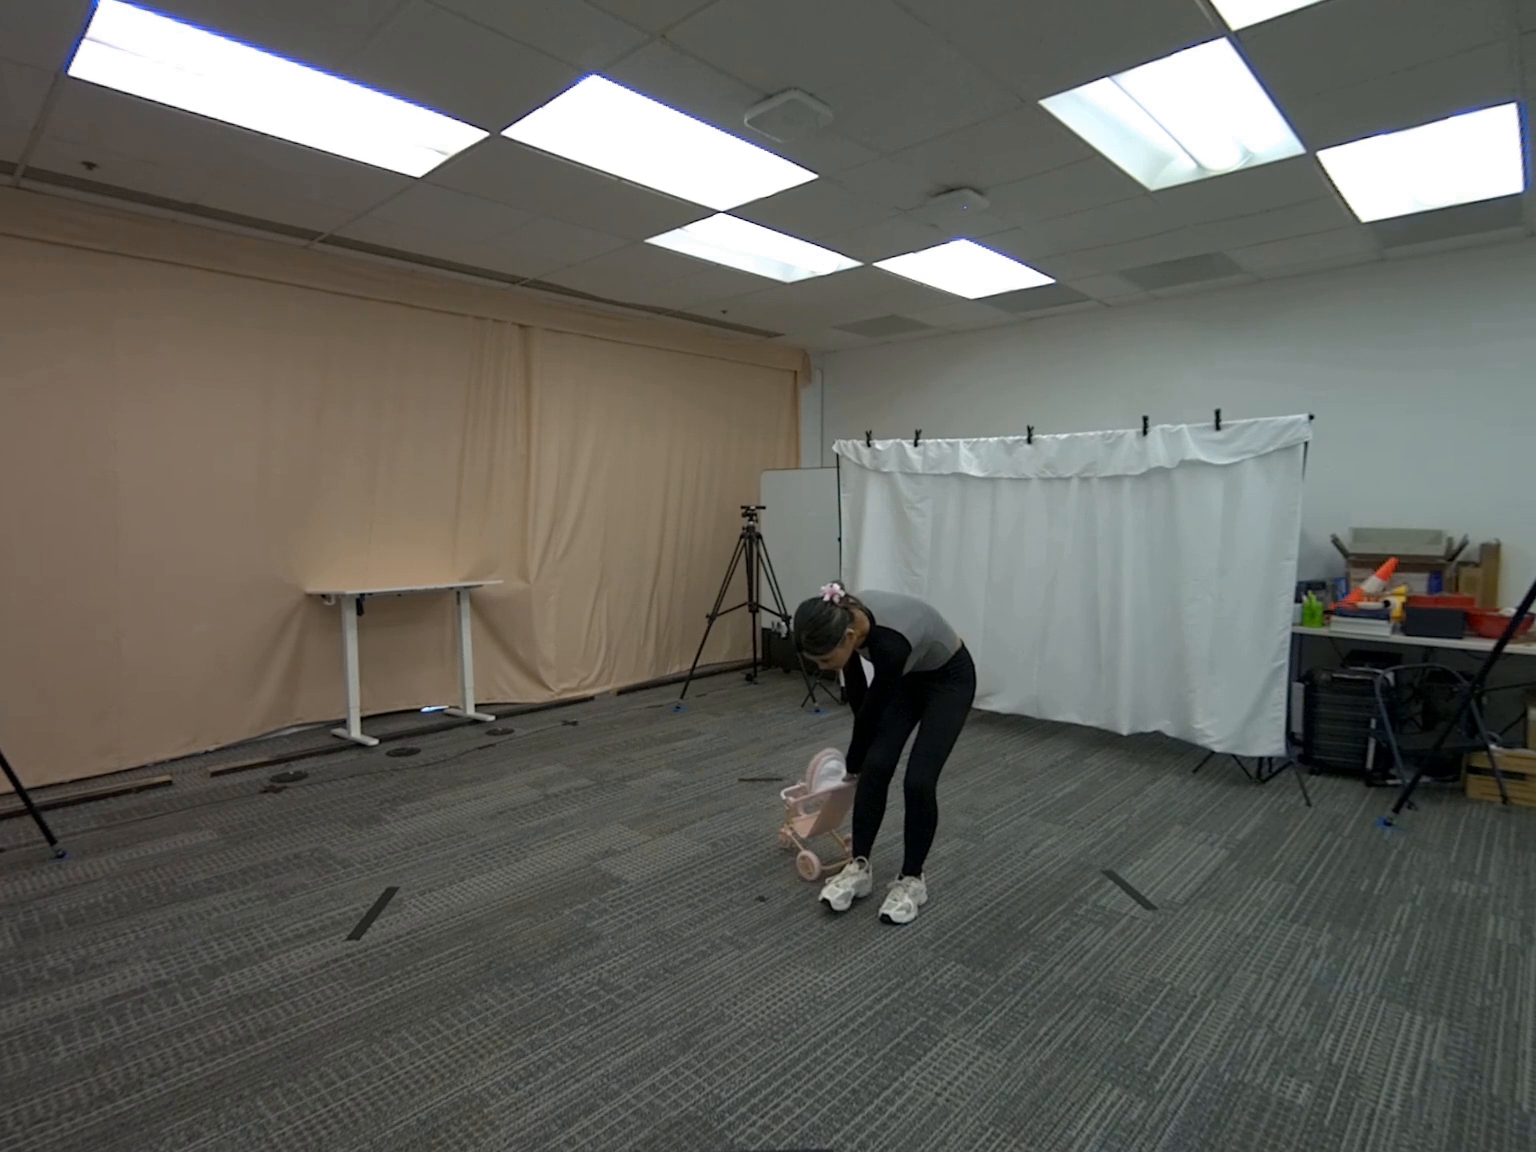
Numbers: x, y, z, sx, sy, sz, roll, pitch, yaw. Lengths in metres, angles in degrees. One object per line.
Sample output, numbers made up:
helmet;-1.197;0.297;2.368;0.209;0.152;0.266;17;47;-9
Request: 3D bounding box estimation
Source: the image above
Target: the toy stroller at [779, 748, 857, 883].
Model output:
toy stroller;0.208;0.893;3.241;0.273;0.531;0.354;-2;23;-38
